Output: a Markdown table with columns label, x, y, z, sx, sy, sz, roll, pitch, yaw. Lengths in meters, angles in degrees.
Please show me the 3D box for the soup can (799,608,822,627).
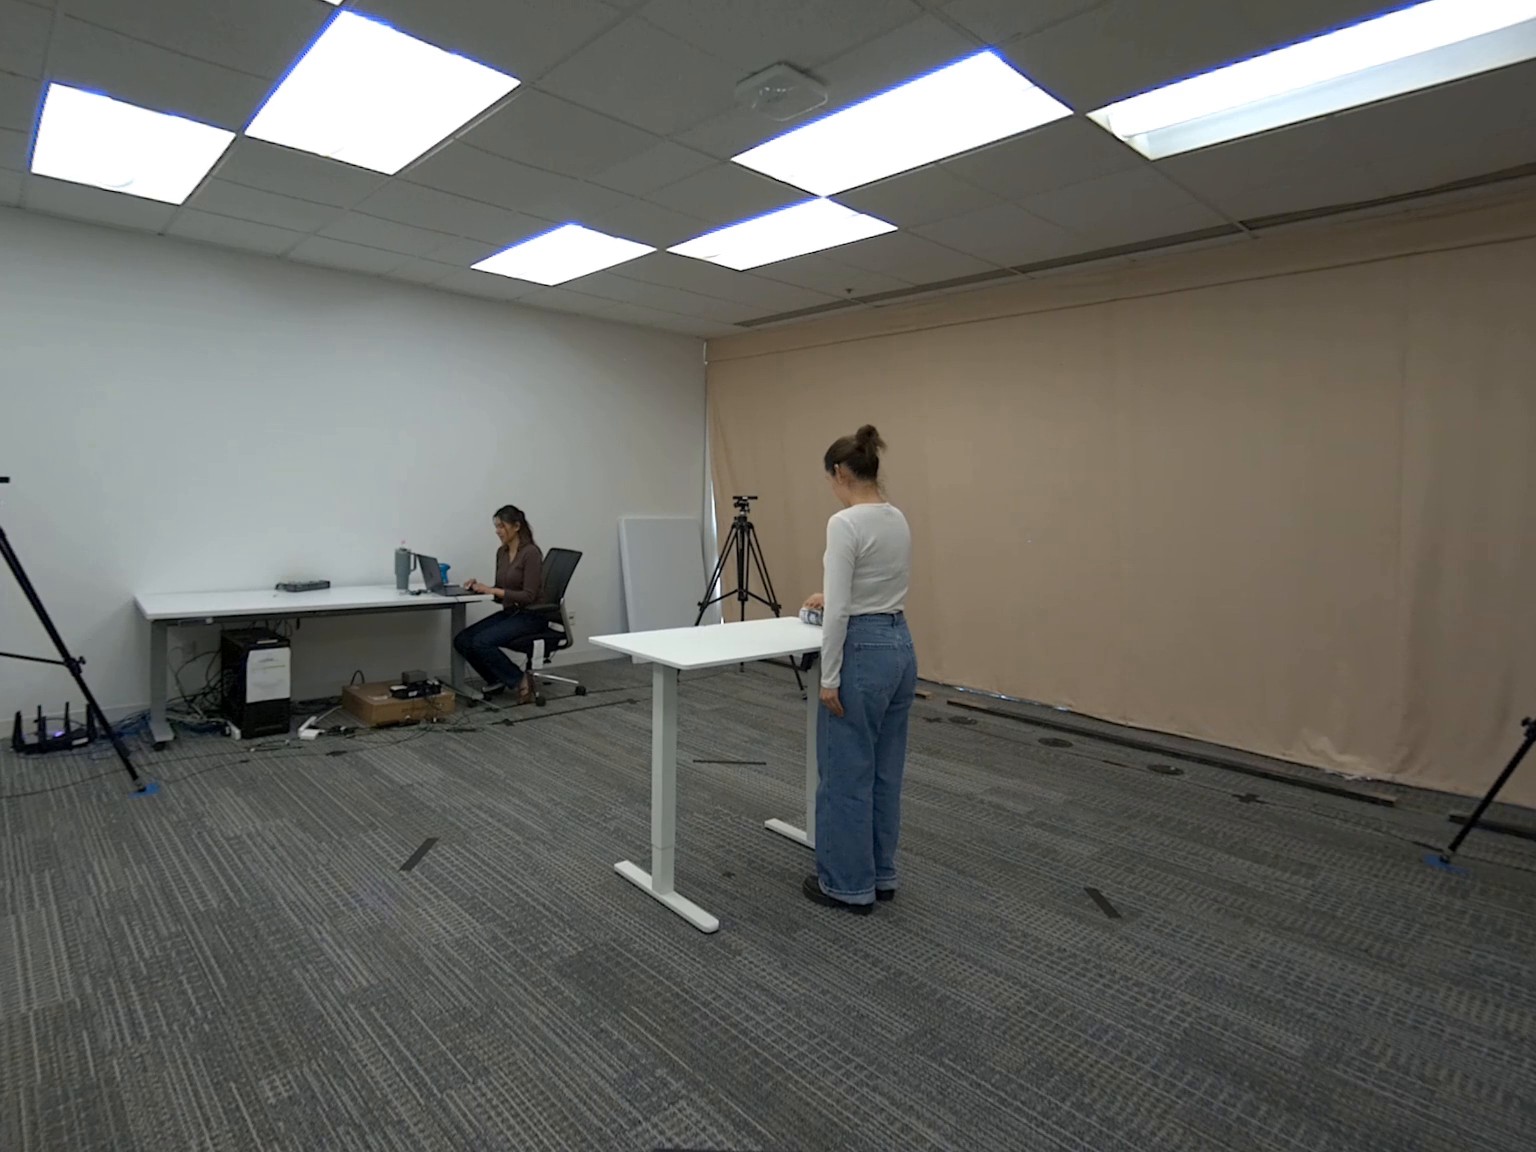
| label | x | y | z | sx | sy | sz | roll | pitch | yaw |
| --- | --- | --- | --- | --- | --- | --- | --- | --- | --- |
| soup can | 0.171 | 0.163 | 3.422 | 0.066 | 0.067 | 0.124 | 0 | 6 | -19 |
